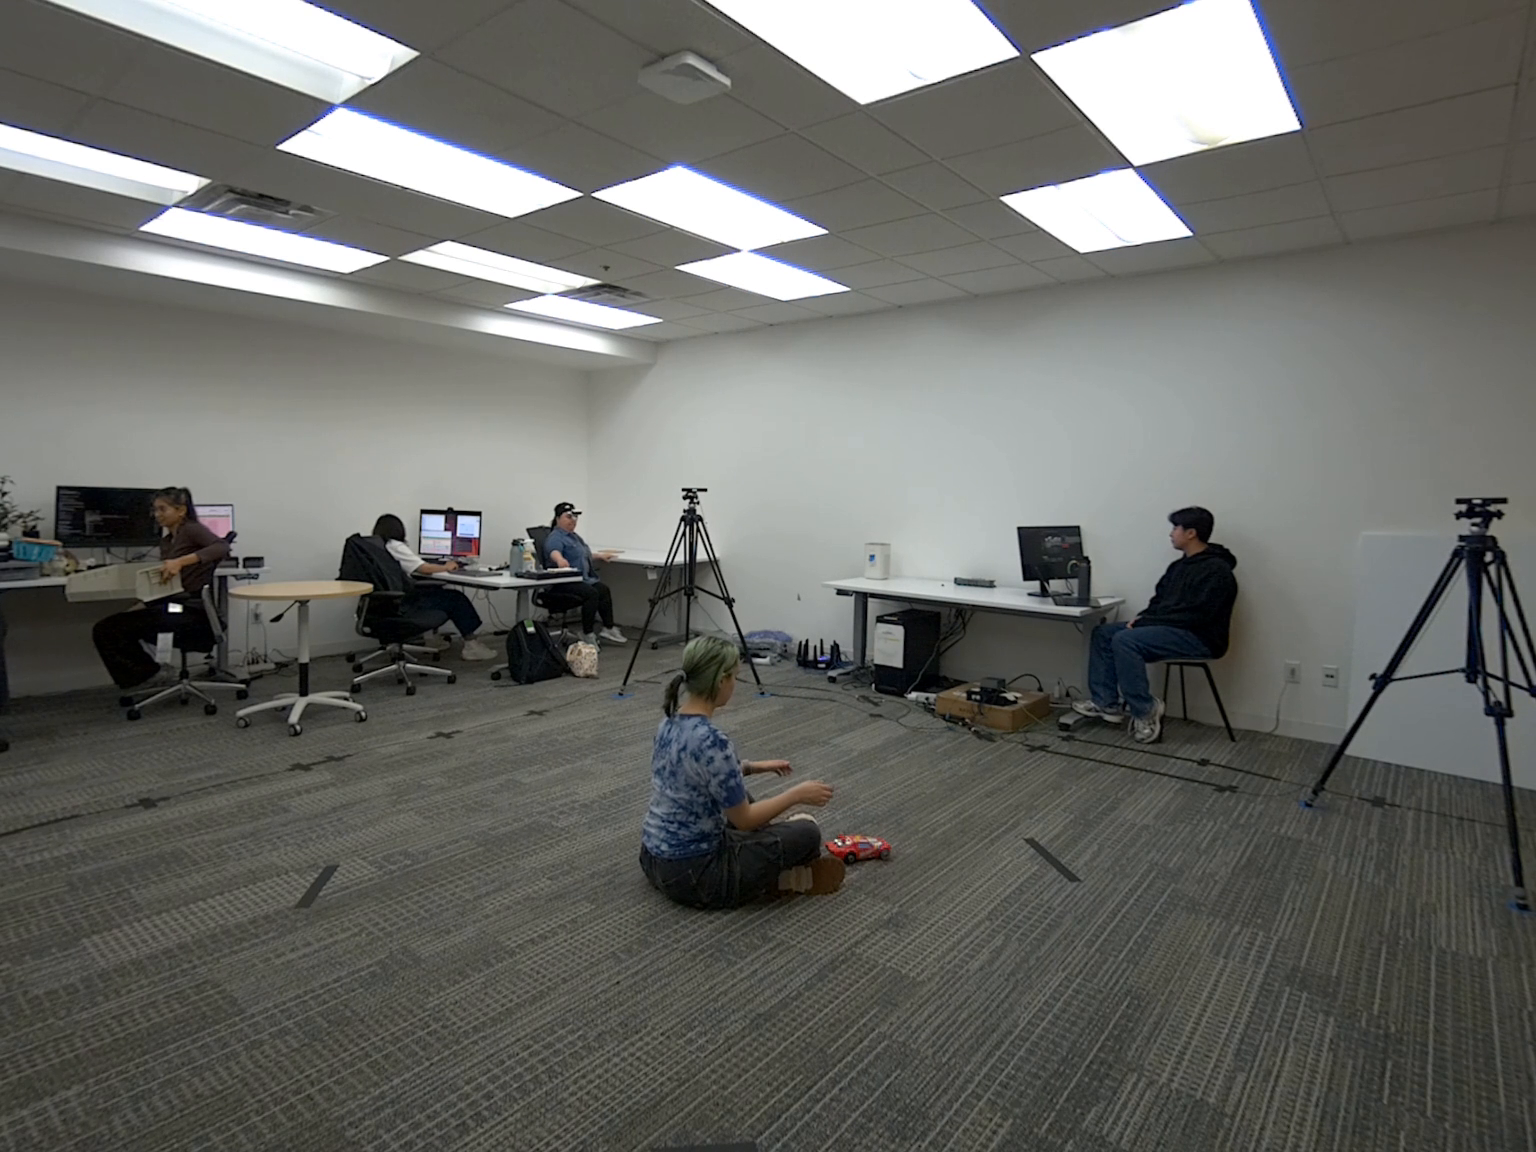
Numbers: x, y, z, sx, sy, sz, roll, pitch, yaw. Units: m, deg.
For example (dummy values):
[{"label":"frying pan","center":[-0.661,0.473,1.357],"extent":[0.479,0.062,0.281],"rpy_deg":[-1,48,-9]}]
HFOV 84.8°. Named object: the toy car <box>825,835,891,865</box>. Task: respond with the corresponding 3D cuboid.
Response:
[{"label":"toy car","center":[0.331,1.036,3.234],"extent":[0.249,0.083,0.133],"rpy_deg":[11,3,-19]}]
